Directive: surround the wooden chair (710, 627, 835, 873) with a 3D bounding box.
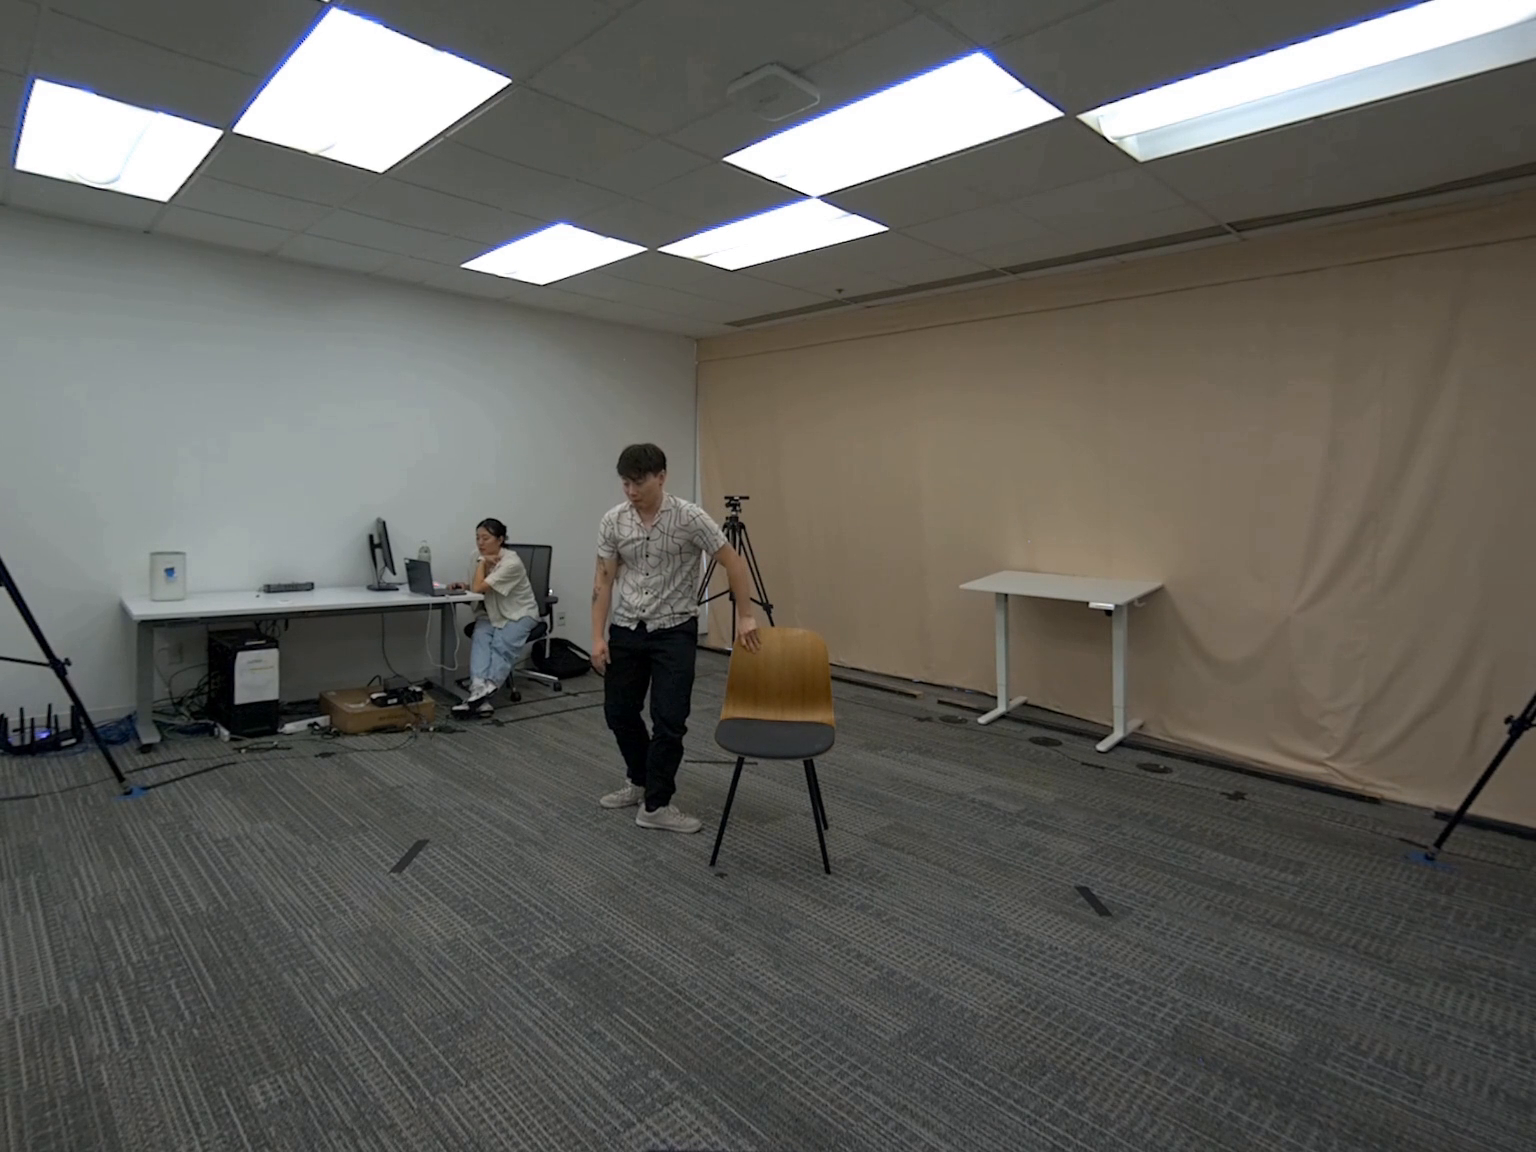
[{"bbox_3d":[0.028,0.661,3.337,0.480,0.878,0.520,2,-1,5],"label":"wooden chair"}]
